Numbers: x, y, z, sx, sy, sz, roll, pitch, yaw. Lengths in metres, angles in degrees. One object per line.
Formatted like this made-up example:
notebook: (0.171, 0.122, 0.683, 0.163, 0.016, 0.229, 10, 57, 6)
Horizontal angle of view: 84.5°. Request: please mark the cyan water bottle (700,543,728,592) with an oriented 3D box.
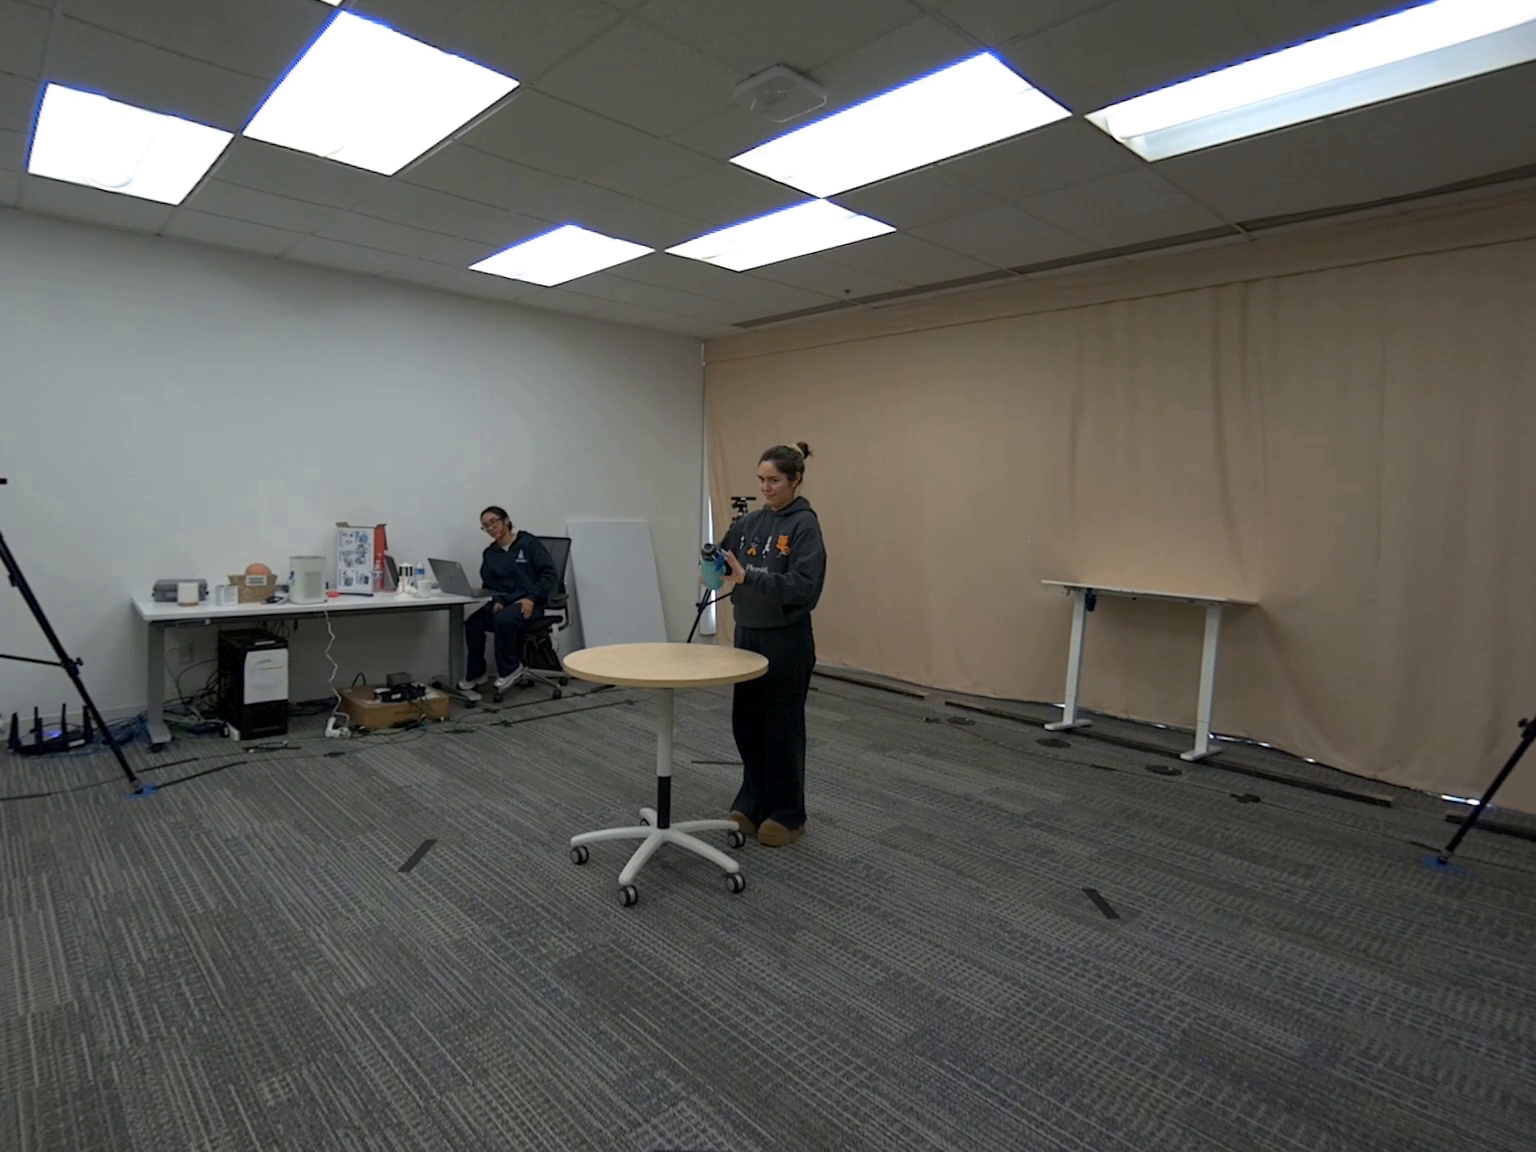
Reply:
cyan water bottle: (-0.227, -0.038, 3.299, 0.092, 0.094, 0.278, 2, -29, -4)
